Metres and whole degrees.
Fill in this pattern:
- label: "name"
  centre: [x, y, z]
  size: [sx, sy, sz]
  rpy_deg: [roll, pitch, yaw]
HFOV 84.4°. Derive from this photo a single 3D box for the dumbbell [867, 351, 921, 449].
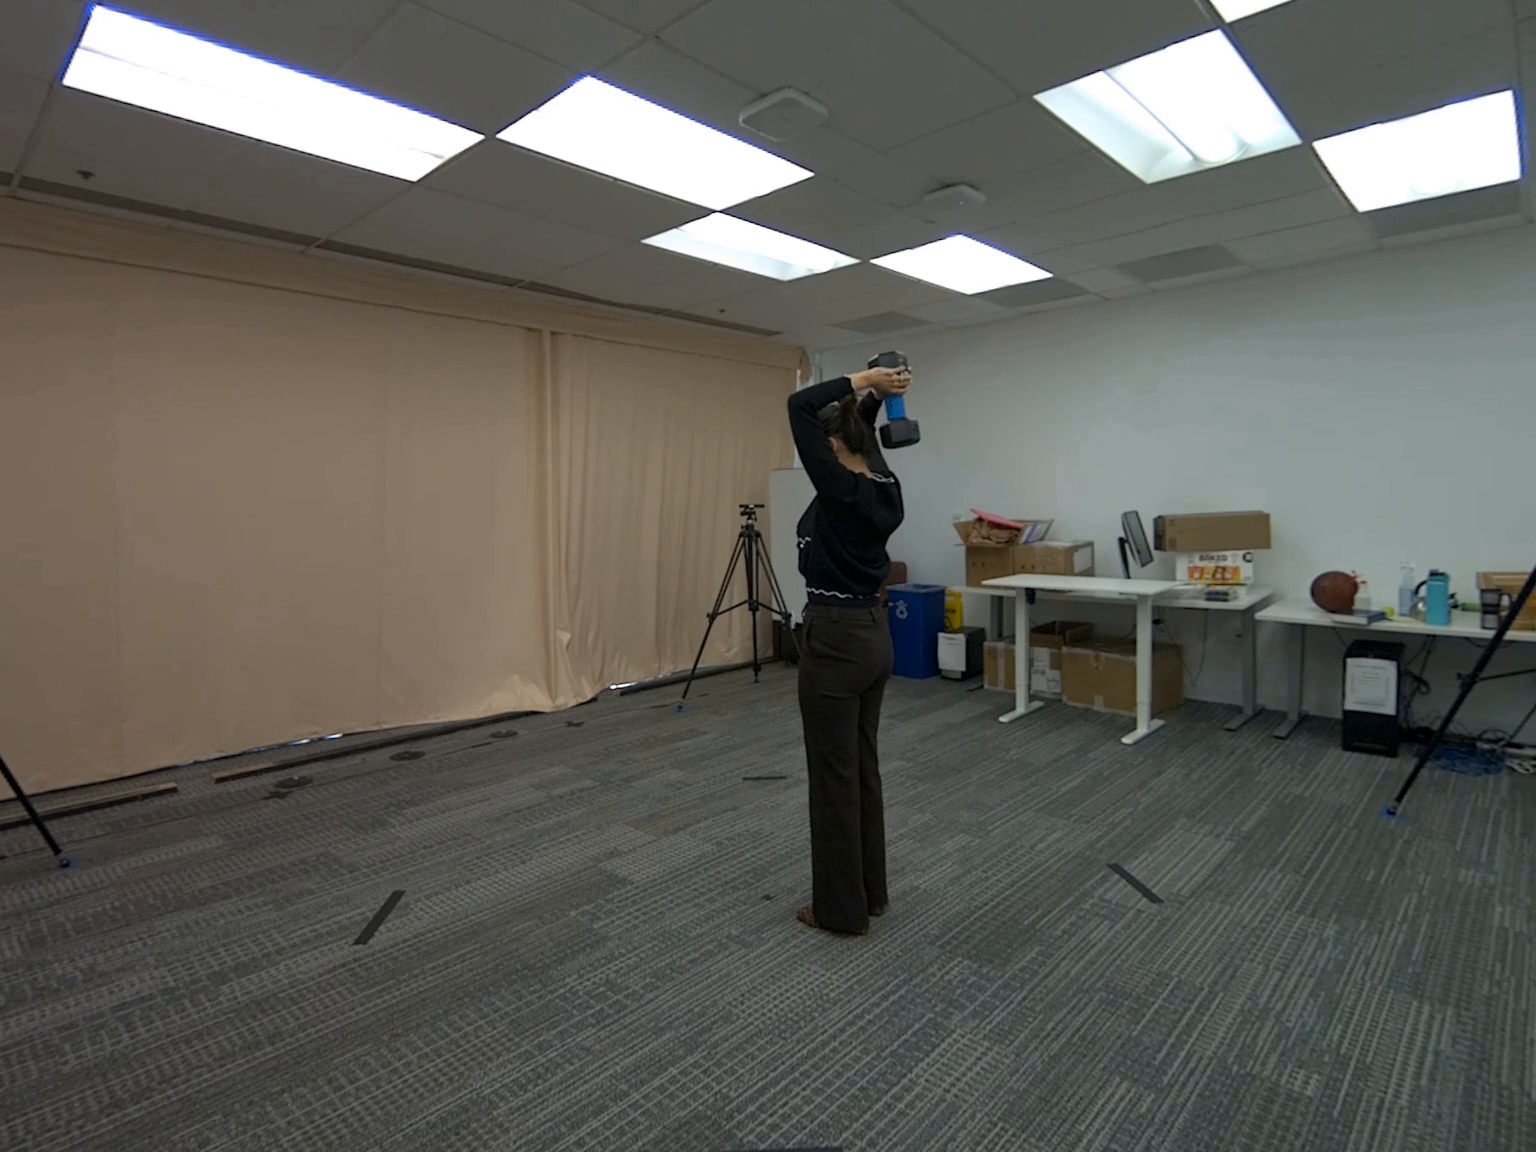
- label: "dumbbell"
  centre: [0.399, -0.553, 2.652]
  size: [0.124, 0.295, 0.107]
  rpy_deg: [-11, -5, 7]
